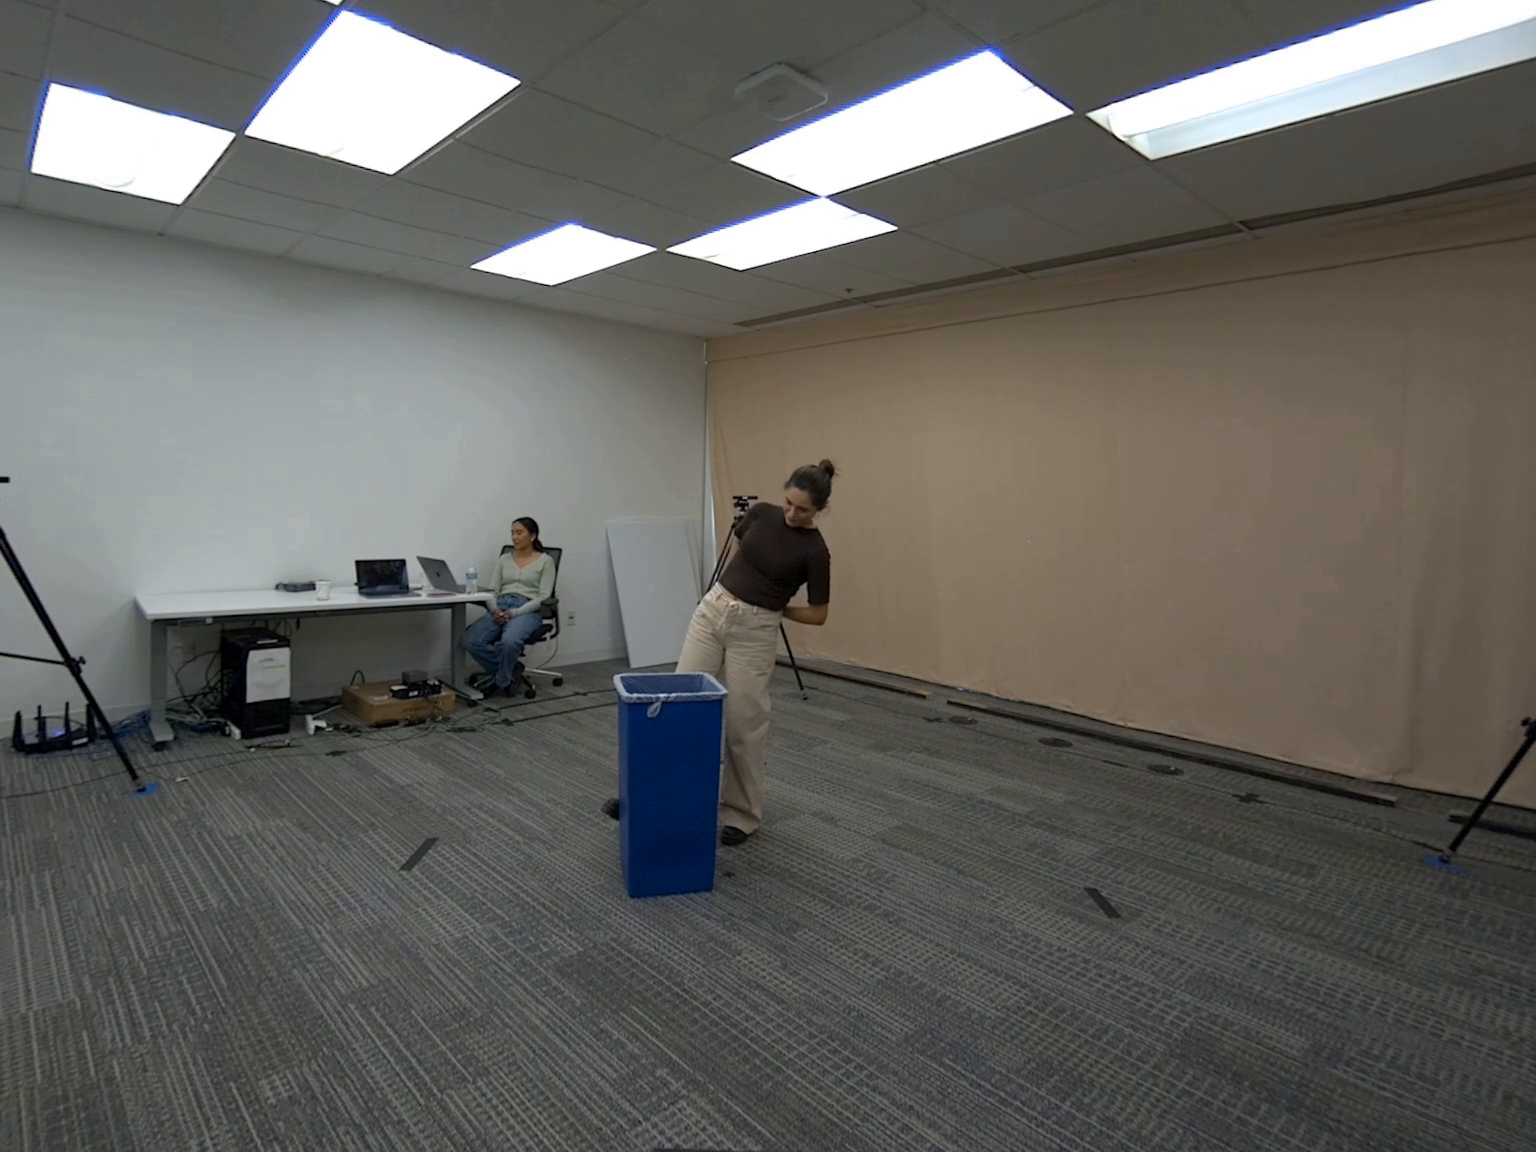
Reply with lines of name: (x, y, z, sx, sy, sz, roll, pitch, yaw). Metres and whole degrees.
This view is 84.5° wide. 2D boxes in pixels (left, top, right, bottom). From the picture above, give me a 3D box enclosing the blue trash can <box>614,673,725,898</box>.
blue trash can: (-0.368, 0.741, 3.063, 0.369, 0.712, 0.384, 0, 3, -17)
